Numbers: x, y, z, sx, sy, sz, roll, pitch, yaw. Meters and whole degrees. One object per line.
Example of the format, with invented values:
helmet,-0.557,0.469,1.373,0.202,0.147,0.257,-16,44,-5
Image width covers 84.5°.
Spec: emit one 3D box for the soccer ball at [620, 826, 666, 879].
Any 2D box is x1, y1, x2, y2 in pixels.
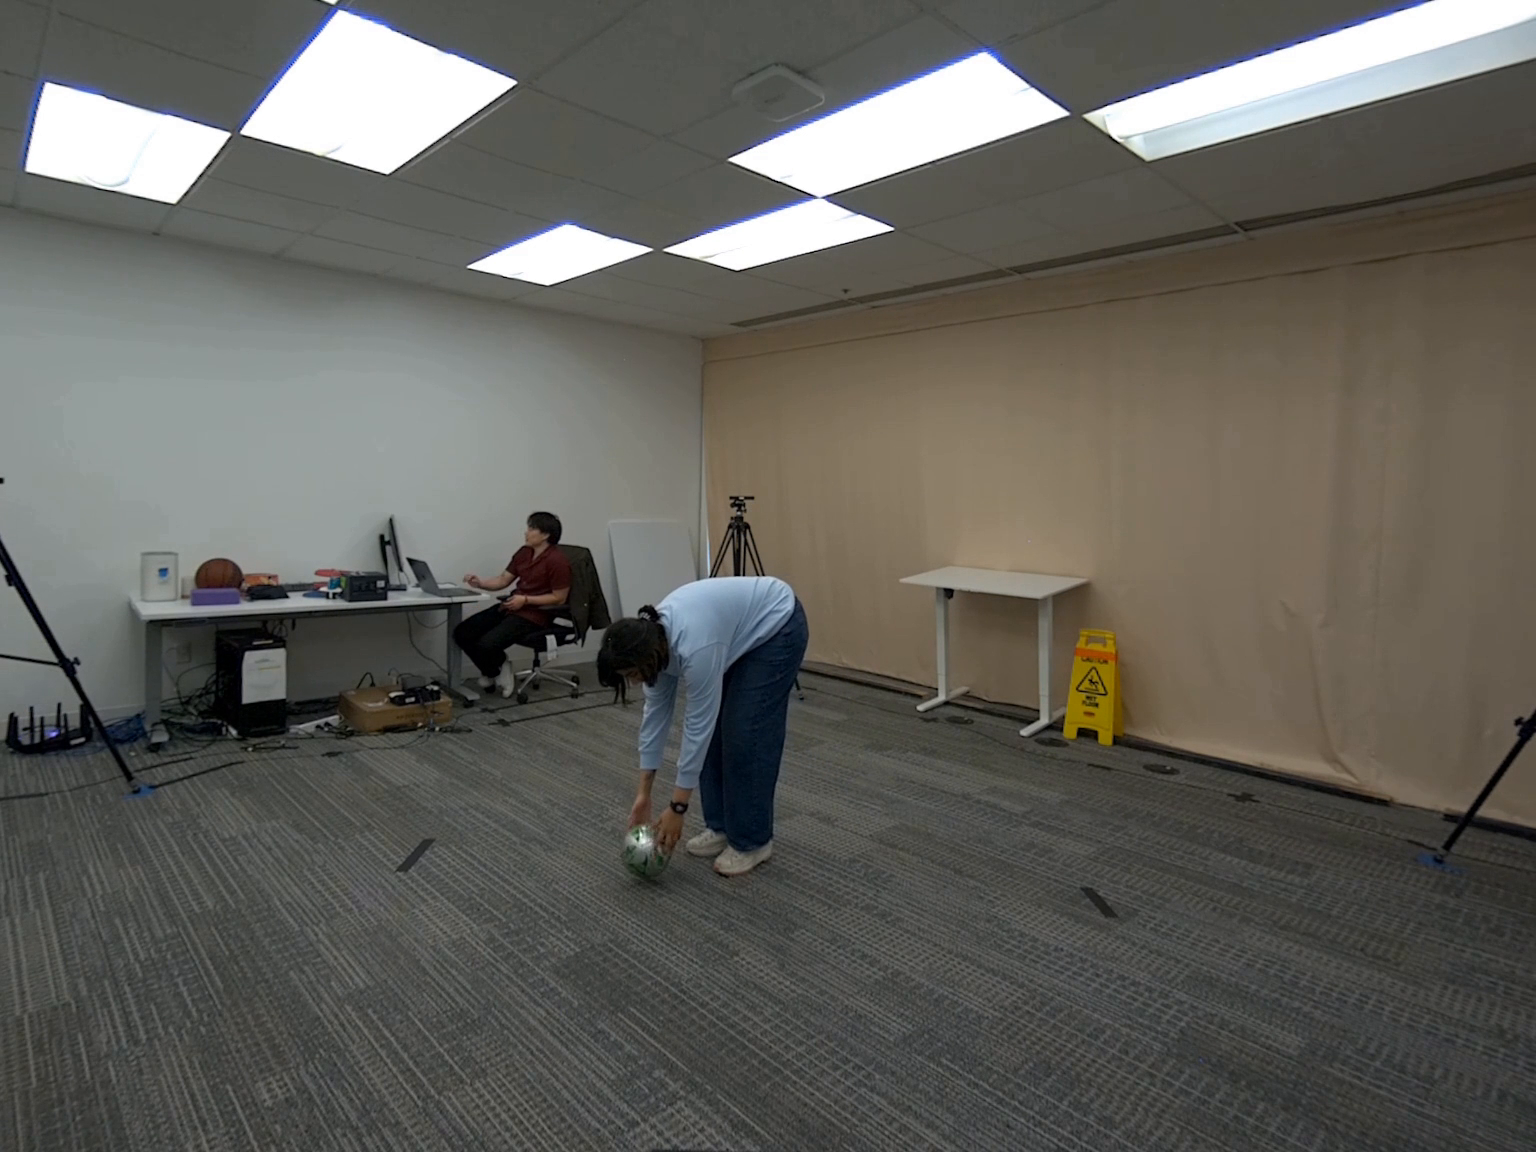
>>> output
soccer ball,-0.442,0.983,3.024,0.187,0.187,0.188,1,4,-1
